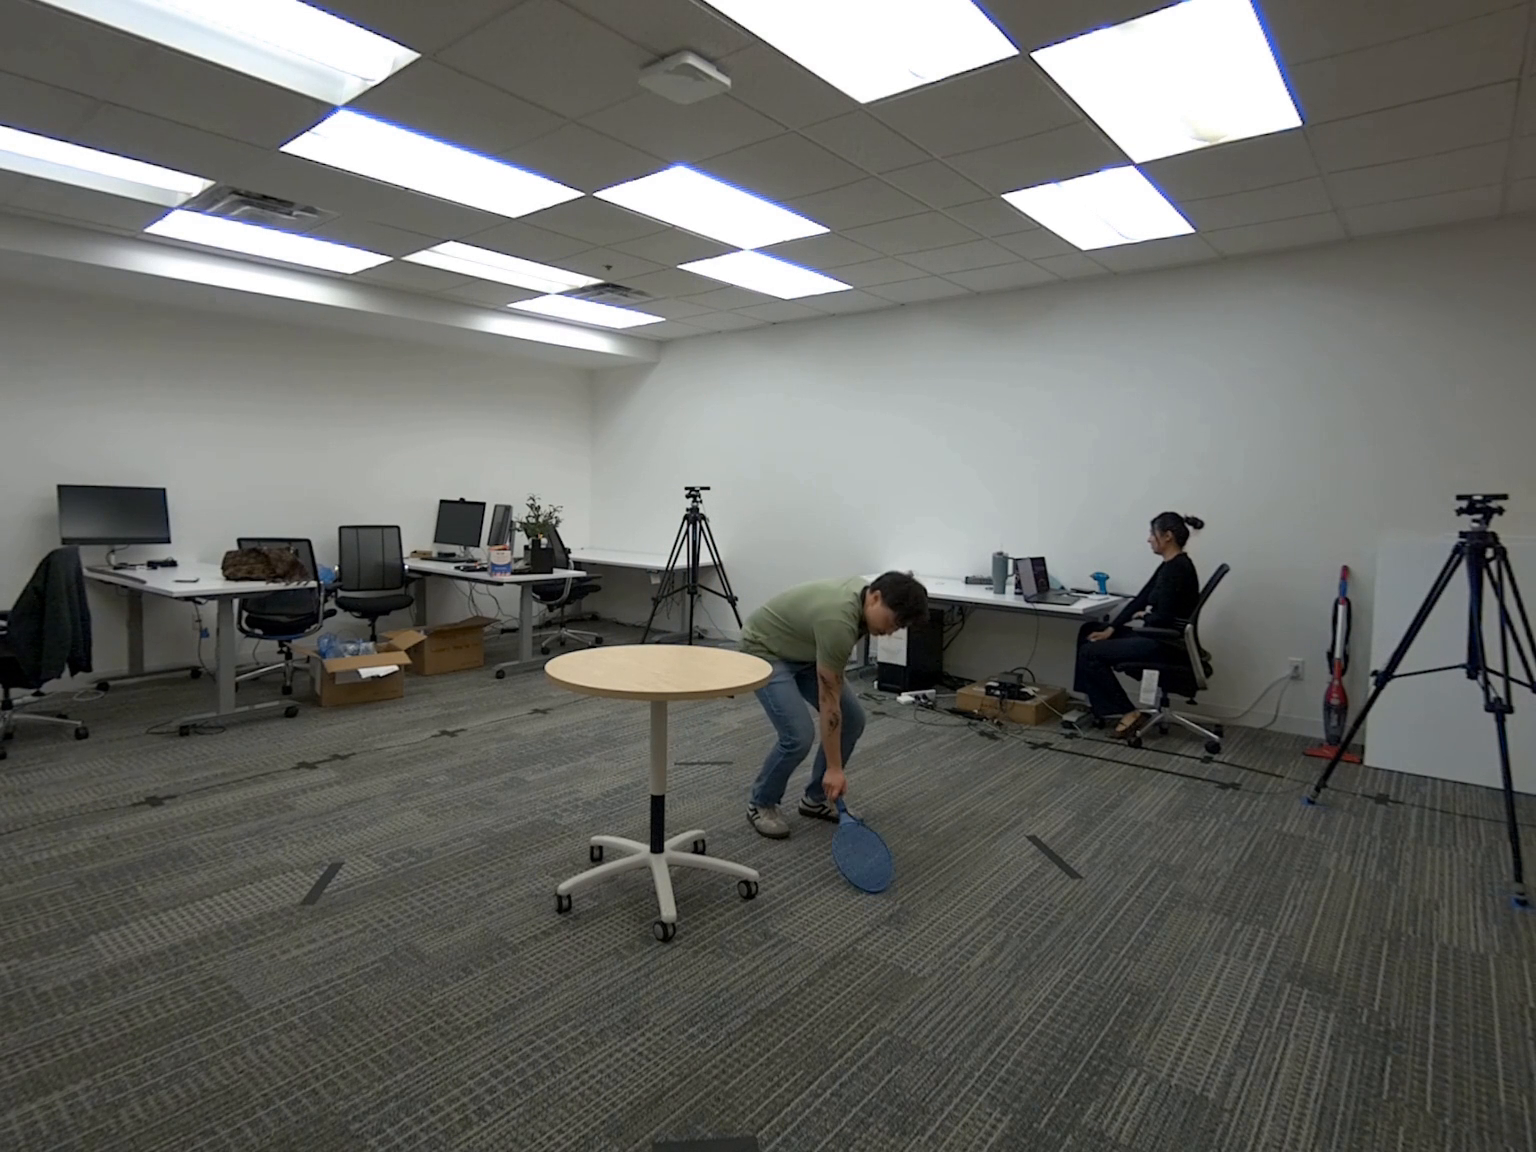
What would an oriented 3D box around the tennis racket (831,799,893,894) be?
[{"bbox_3d":[0.311,0.933,3.091,0.210,0.031,0.450,-6,43,-20],"label":"tennis racket"}]
